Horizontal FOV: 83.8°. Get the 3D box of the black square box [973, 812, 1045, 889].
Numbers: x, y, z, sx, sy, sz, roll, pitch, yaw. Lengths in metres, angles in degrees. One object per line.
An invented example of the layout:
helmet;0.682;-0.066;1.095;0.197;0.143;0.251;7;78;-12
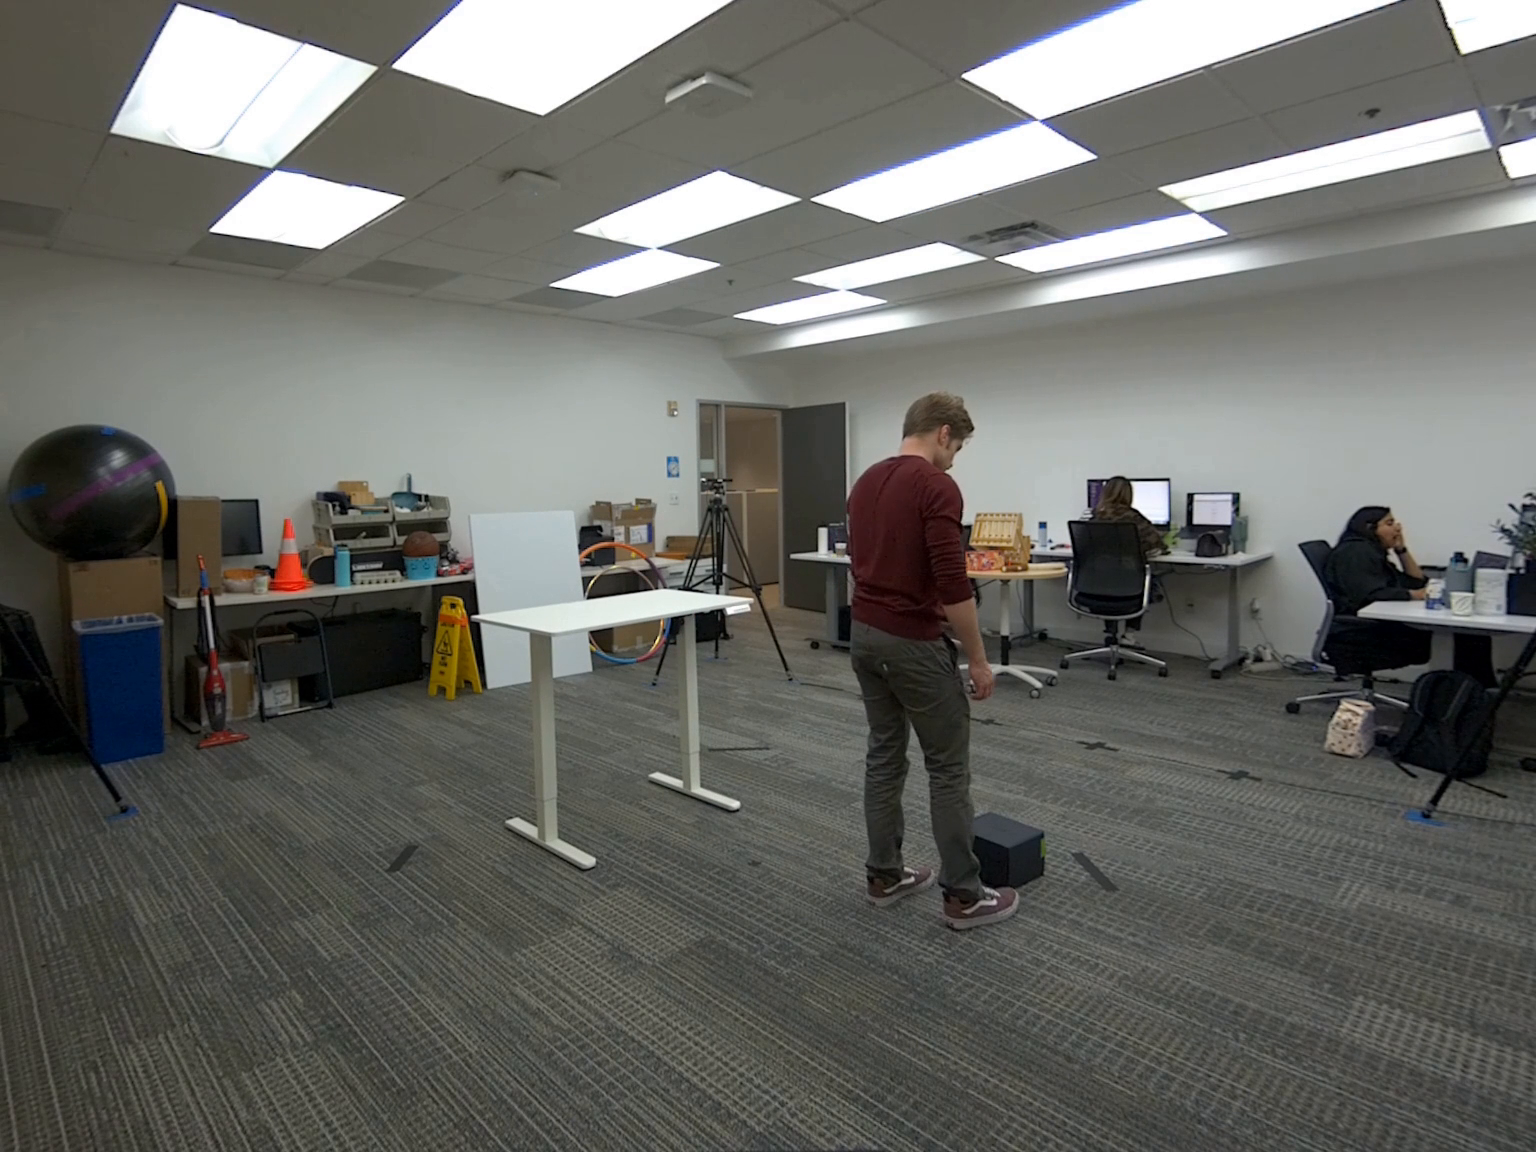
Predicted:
black square box;0.812;0.958;2.998;0.211;0.155;0.235;-5;7;-38
